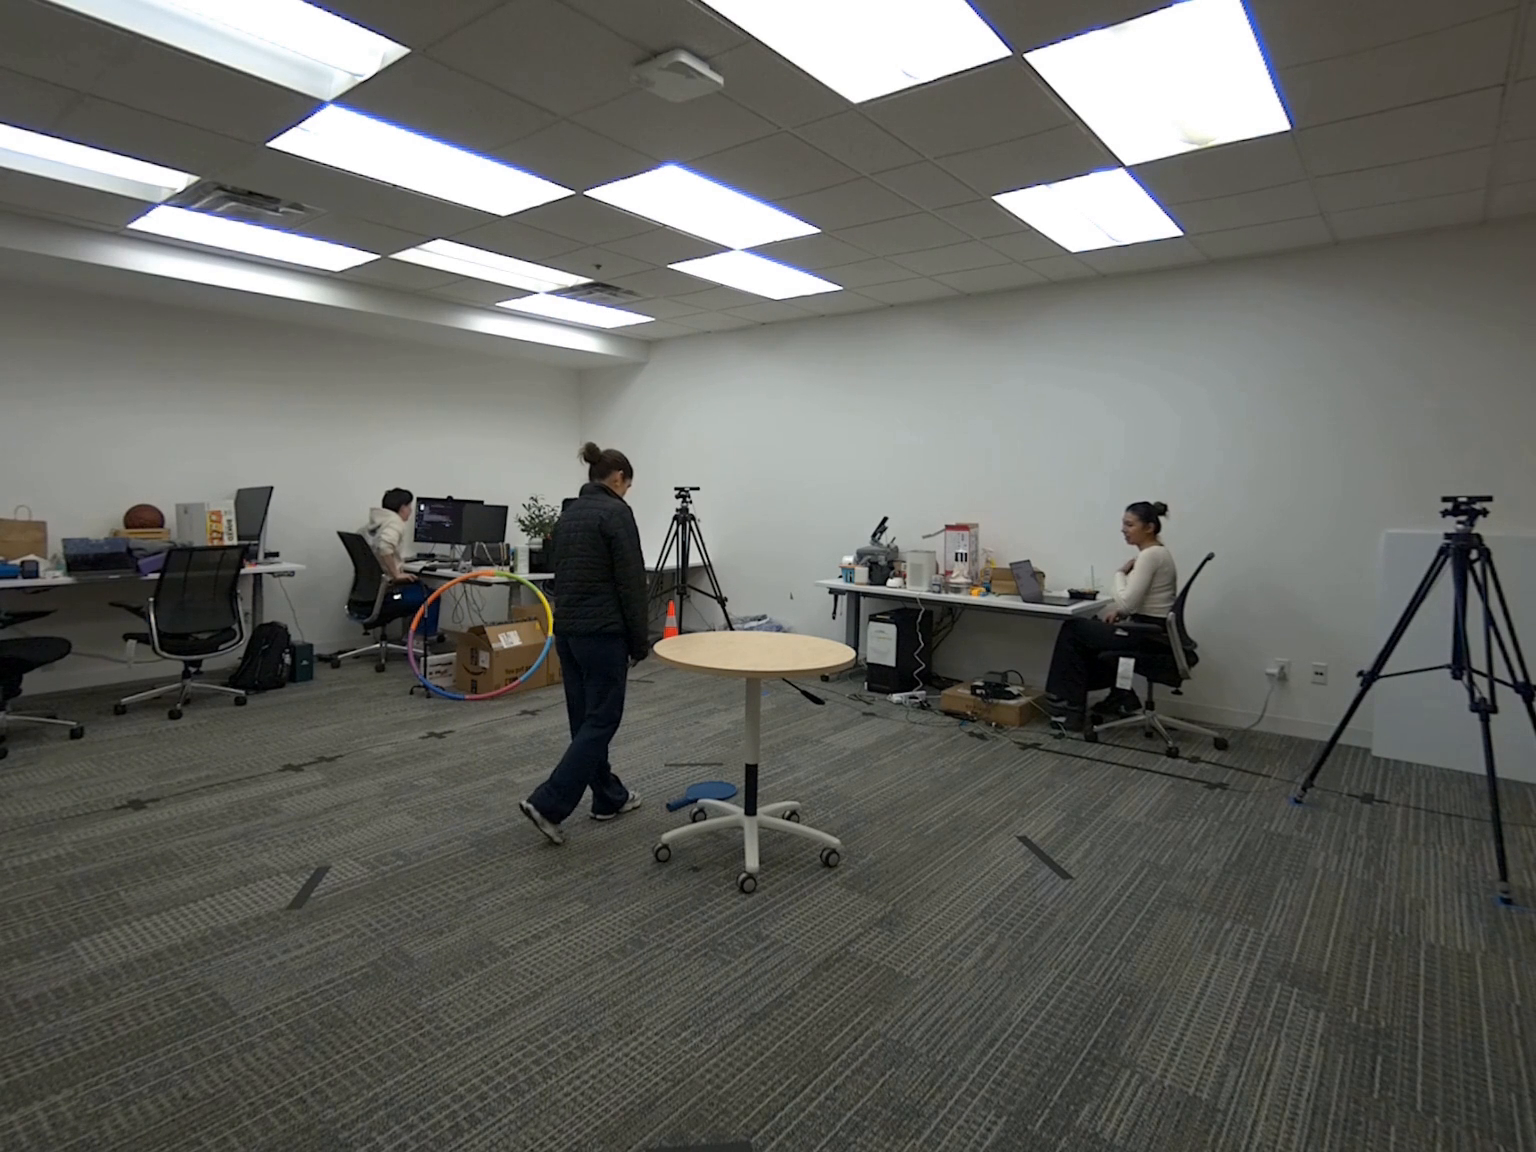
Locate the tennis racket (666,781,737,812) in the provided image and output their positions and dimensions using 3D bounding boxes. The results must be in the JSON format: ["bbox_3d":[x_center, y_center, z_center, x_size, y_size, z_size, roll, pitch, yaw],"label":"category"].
[{"bbox_3d":[-0.287,0.978,3.835,0.221,0.032,0.420,5,5,37],"label":"tennis racket"}]
